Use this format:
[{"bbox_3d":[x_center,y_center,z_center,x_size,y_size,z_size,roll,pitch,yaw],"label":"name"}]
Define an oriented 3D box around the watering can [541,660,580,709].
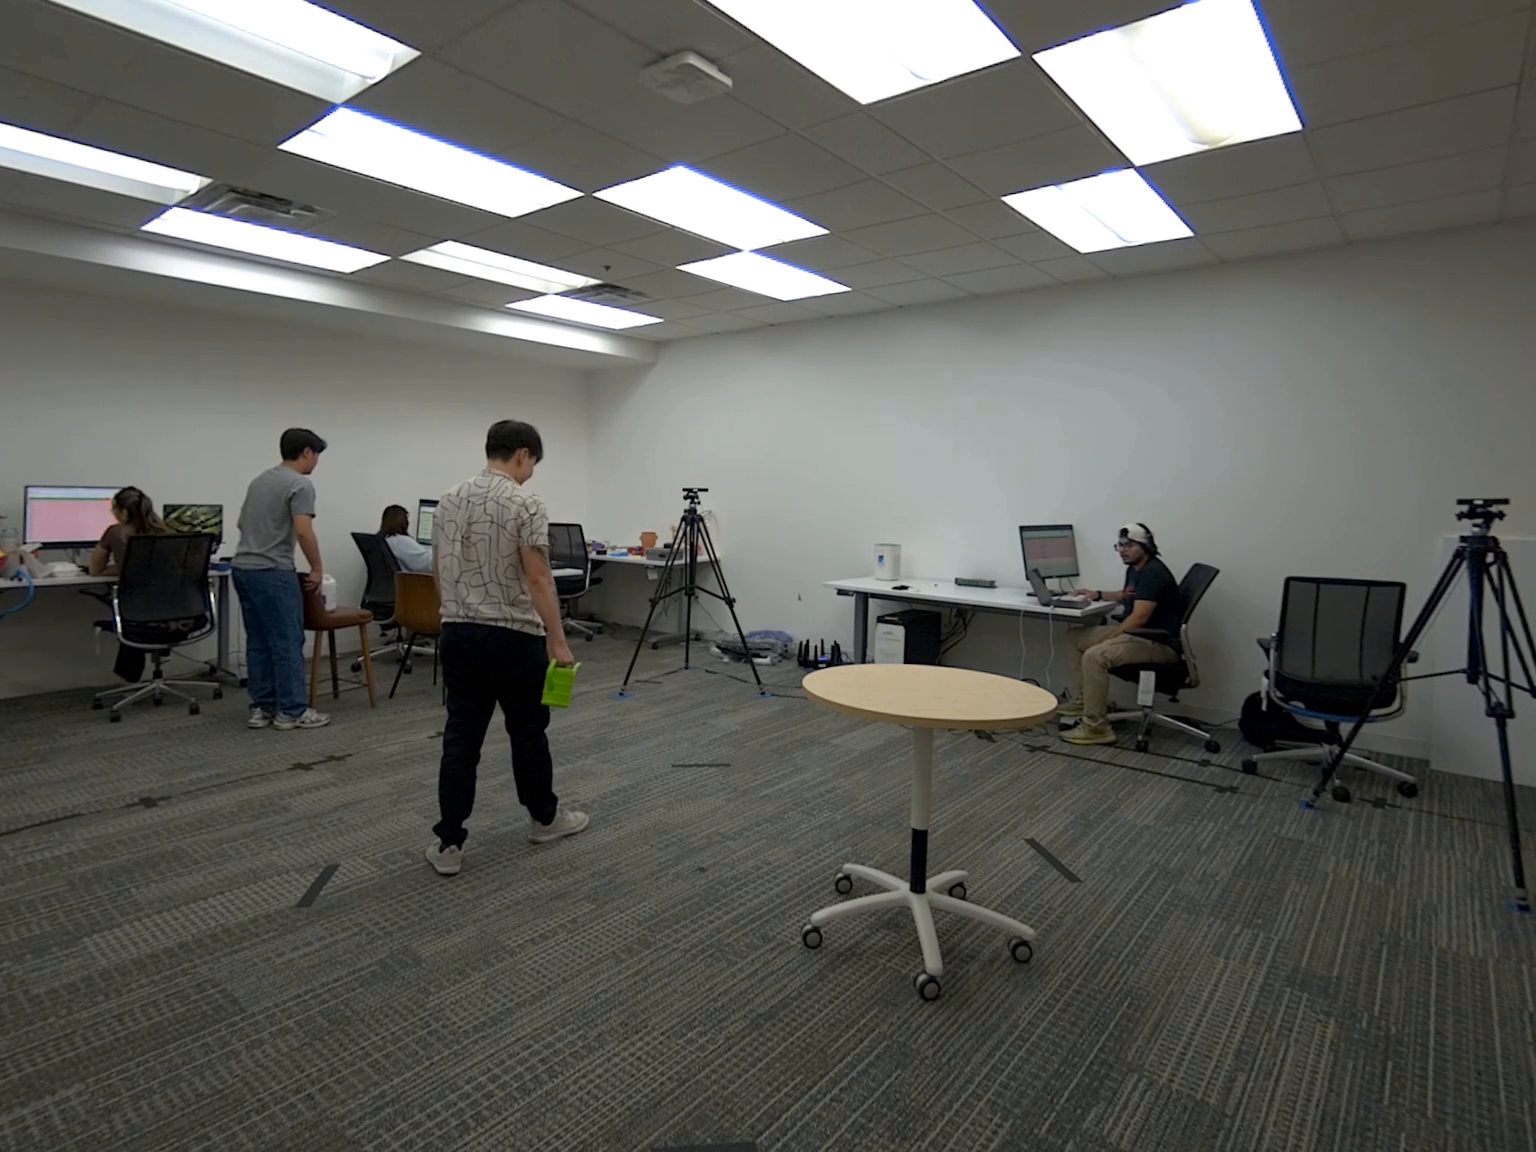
[{"bbox_3d":[-0.758,0.387,3.144,0.100,0.178,0.270,1,-11,19],"label":"watering can"}]
